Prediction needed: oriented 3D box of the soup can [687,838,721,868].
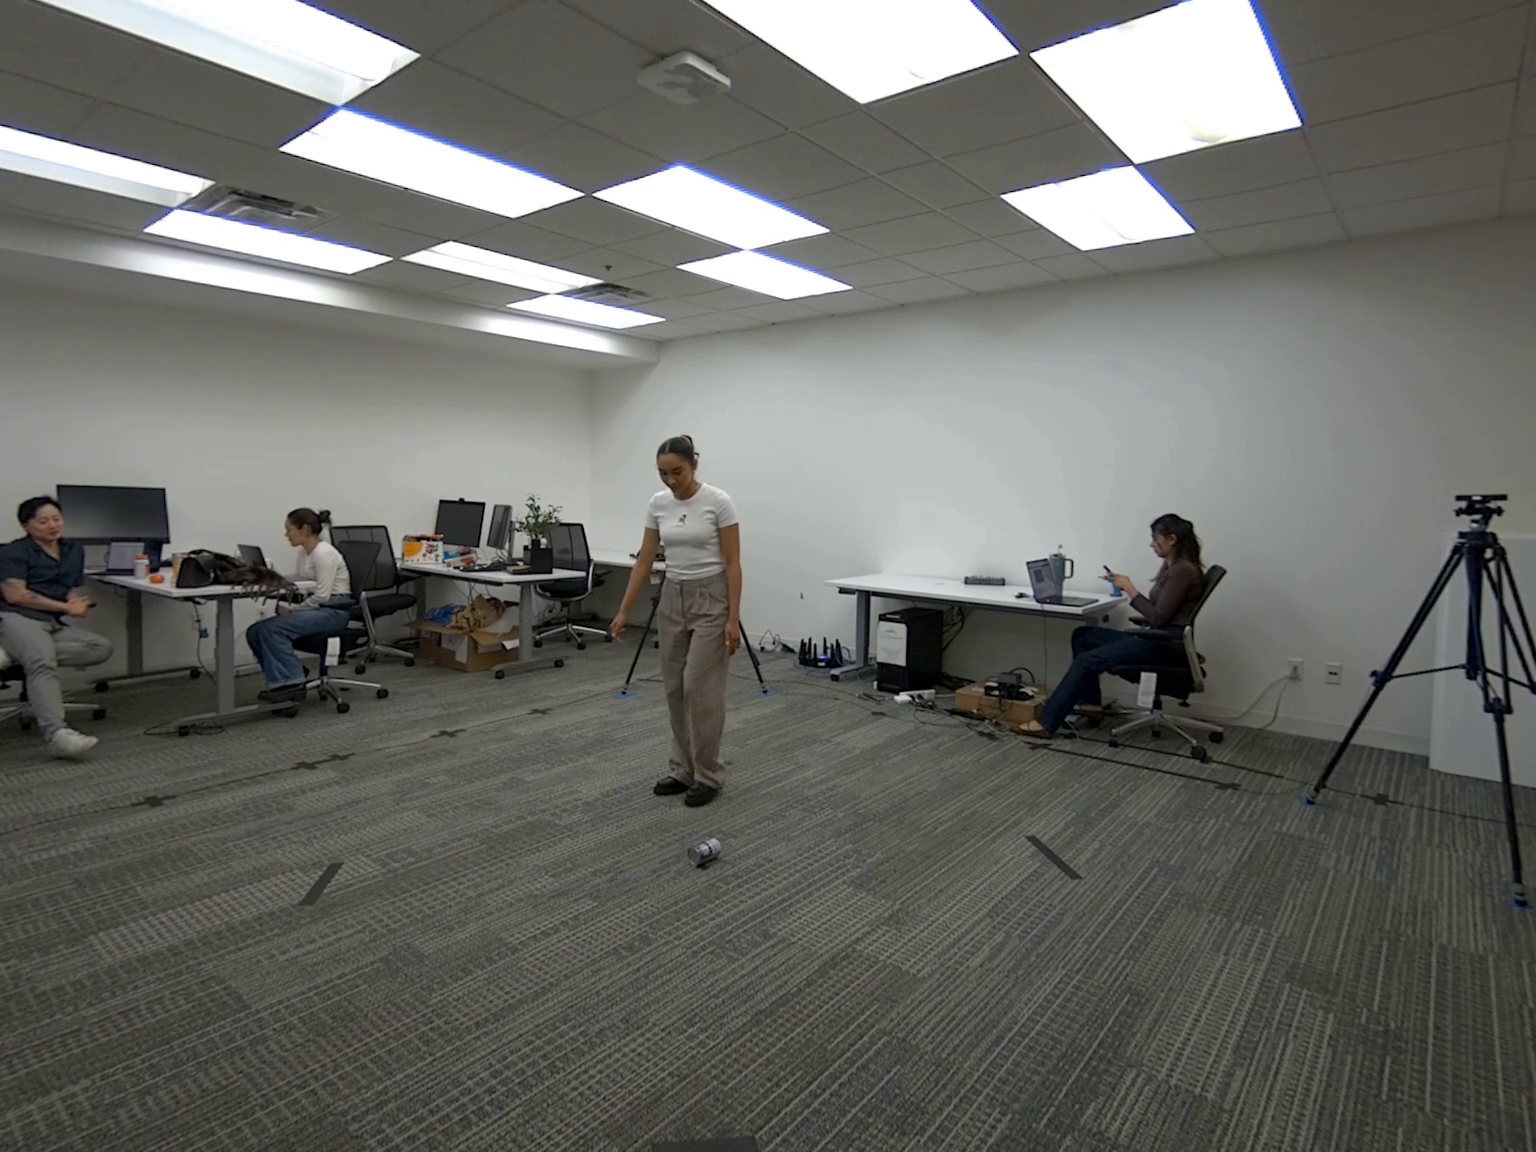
[{"bbox_3d":[-0.245,1.017,3.170,0.069,0.067,0.118,4,9,42],"label":"soup can"}]
